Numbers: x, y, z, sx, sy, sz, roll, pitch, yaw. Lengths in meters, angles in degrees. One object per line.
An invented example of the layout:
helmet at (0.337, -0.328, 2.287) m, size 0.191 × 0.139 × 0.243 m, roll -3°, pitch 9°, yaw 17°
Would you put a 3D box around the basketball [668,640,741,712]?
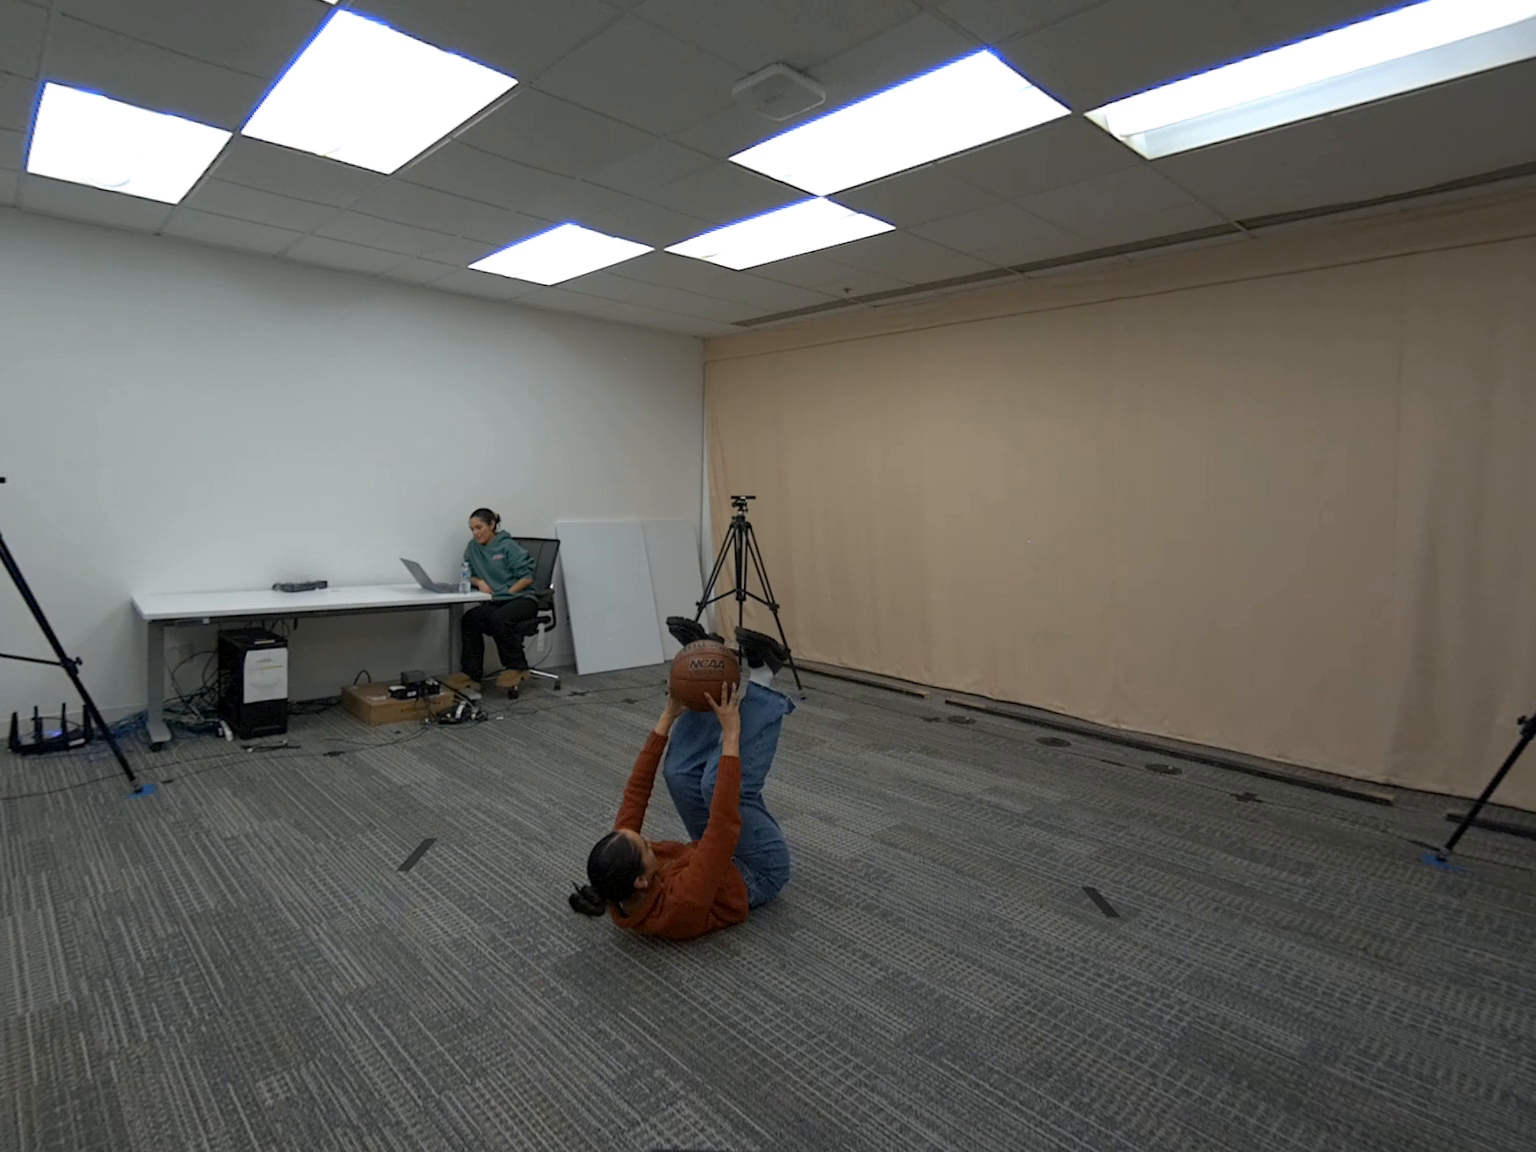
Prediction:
basketball at (-0.205, 0.332, 2.797) m, size 0.236 × 0.234 × 0.237 m, roll 0°, pitch 8°, yaw -1°
